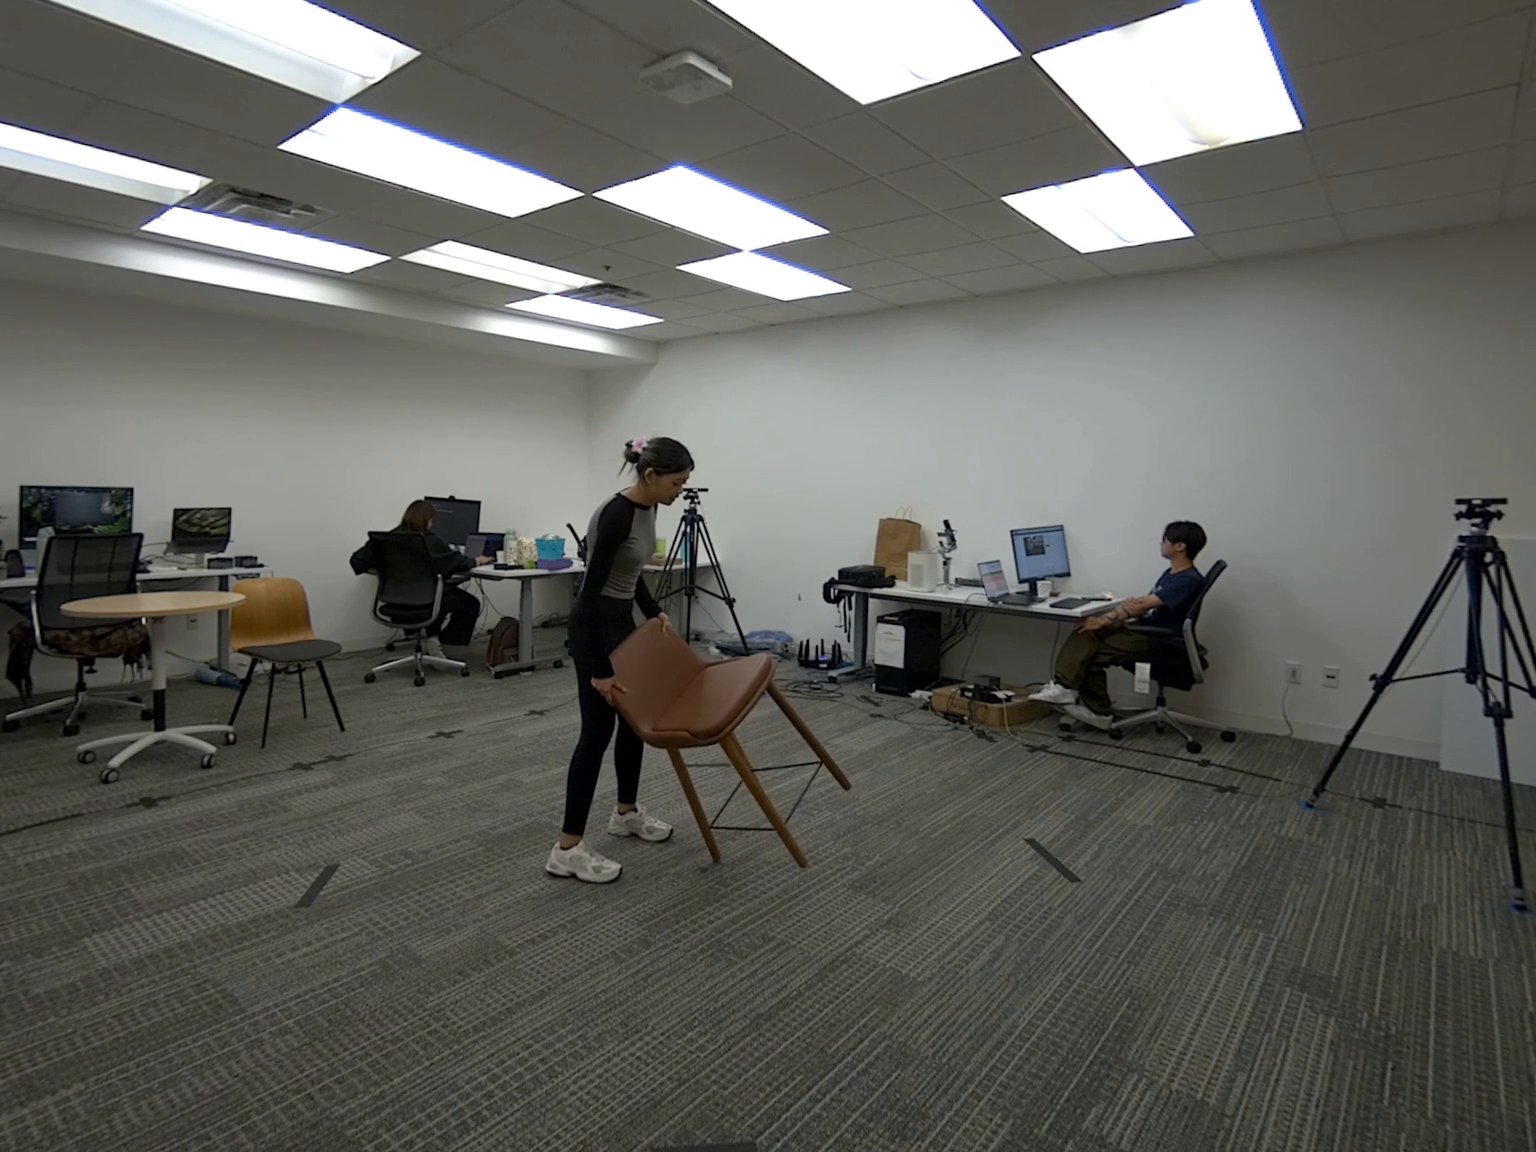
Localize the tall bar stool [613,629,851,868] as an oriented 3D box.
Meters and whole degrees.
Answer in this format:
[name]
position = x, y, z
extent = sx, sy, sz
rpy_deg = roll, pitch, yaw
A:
[tall bar stool]
position = -0.167, 0.565, 3.075
extent = 0.477, 0.875, 0.455
rpy_deg = -20, 16, 41
